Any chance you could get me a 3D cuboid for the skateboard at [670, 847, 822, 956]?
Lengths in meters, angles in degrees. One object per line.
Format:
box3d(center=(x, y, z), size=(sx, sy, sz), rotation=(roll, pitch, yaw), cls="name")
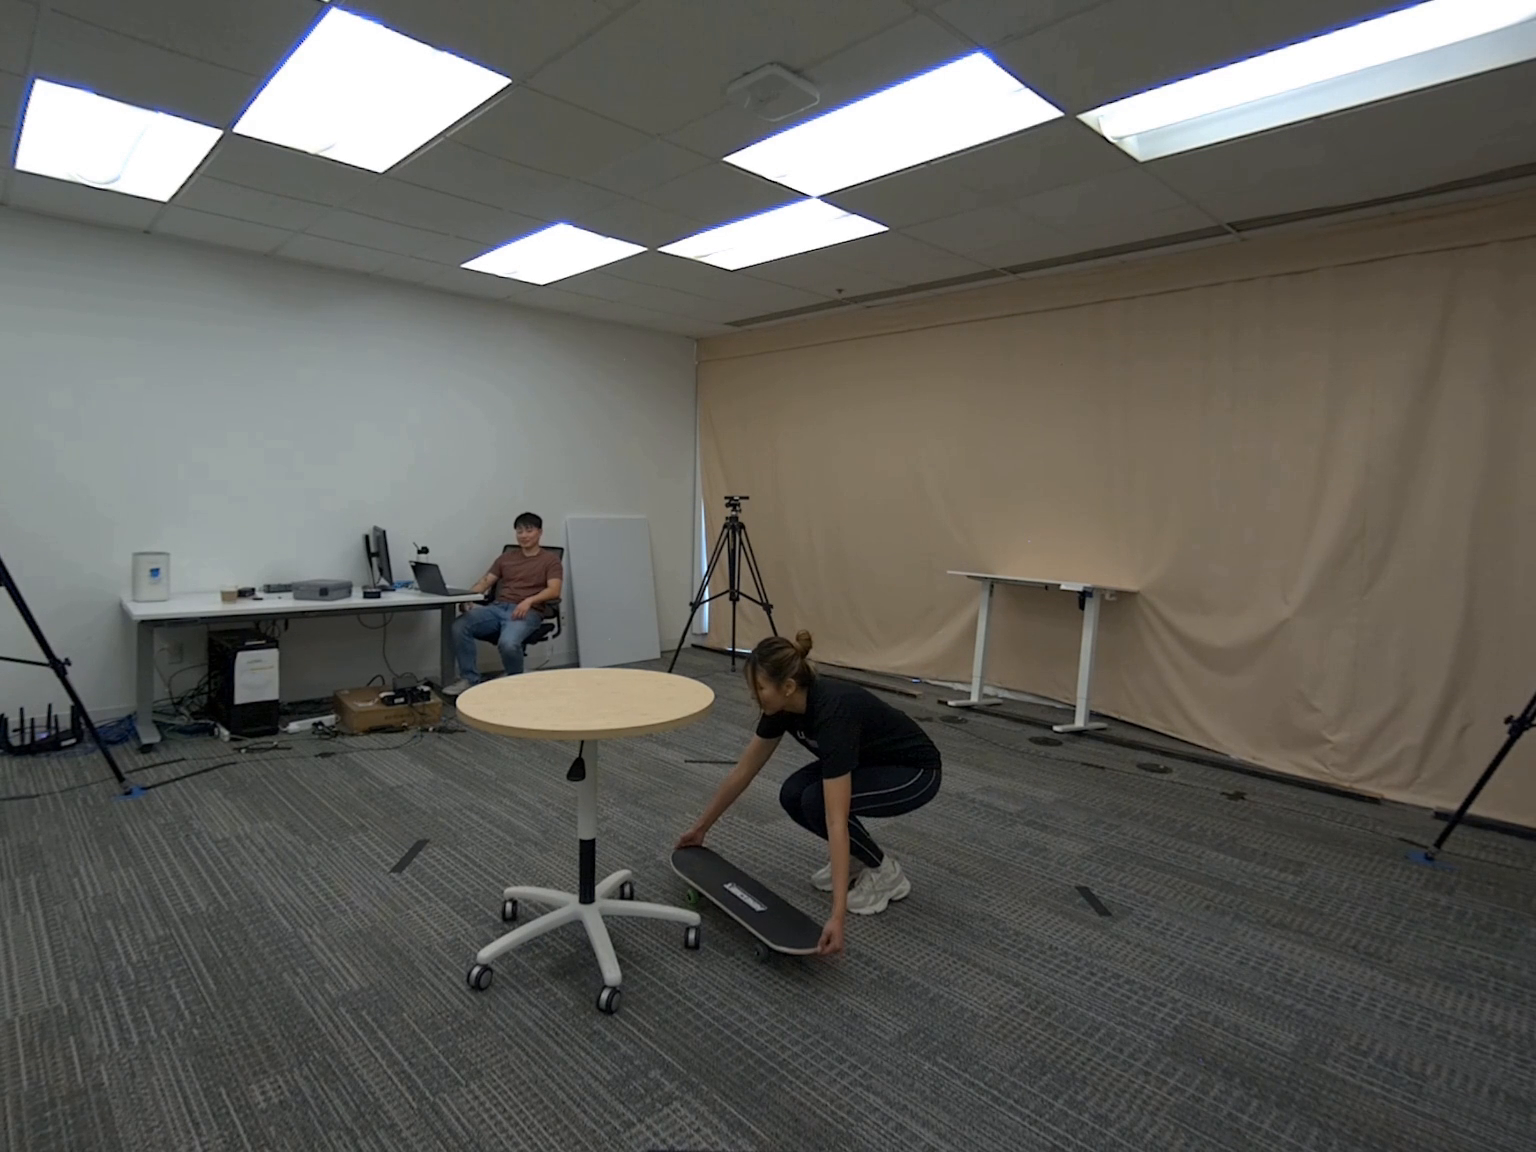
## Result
box3d(center=(-0.085, 1.066, 2.710), size=(0.189, 0.110, 0.805), rotation=(-3, 7, -34), cls="skateboard")
